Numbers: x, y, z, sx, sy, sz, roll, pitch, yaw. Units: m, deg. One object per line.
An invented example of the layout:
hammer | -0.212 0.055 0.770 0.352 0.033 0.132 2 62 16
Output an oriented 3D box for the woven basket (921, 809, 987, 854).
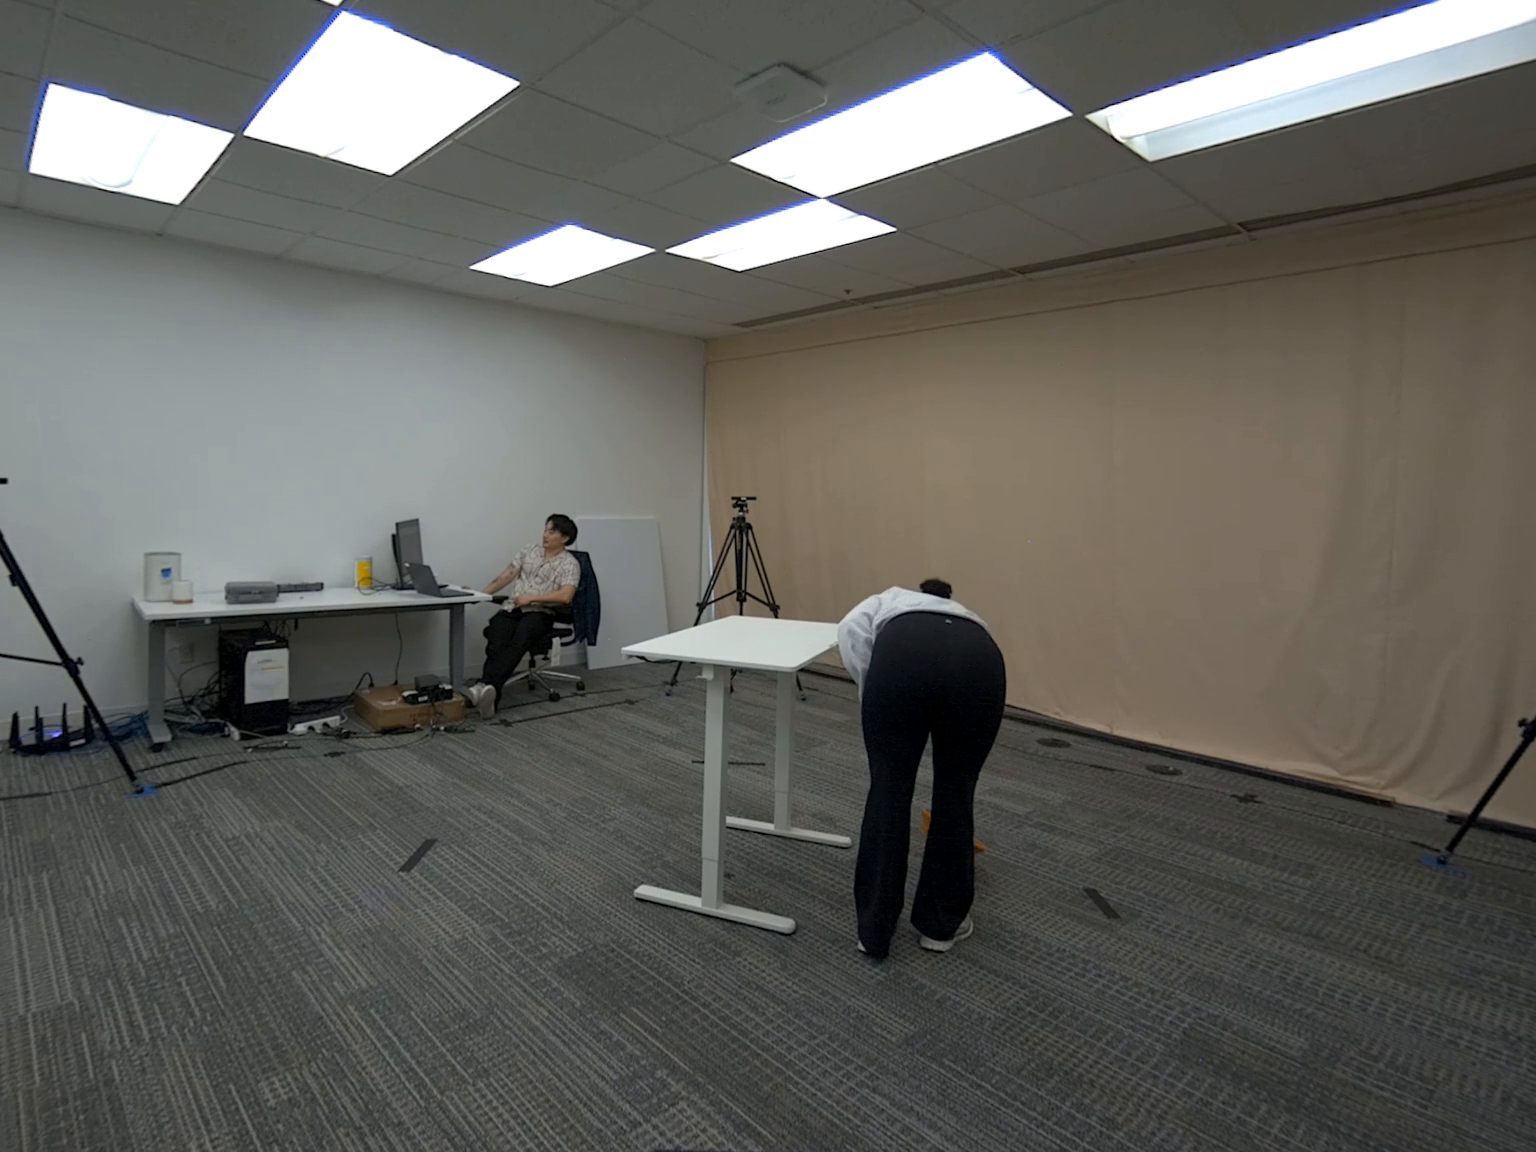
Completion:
woven basket | 0.687 0.947 3.161 0.260 0.073 0.339 28 -3 41
